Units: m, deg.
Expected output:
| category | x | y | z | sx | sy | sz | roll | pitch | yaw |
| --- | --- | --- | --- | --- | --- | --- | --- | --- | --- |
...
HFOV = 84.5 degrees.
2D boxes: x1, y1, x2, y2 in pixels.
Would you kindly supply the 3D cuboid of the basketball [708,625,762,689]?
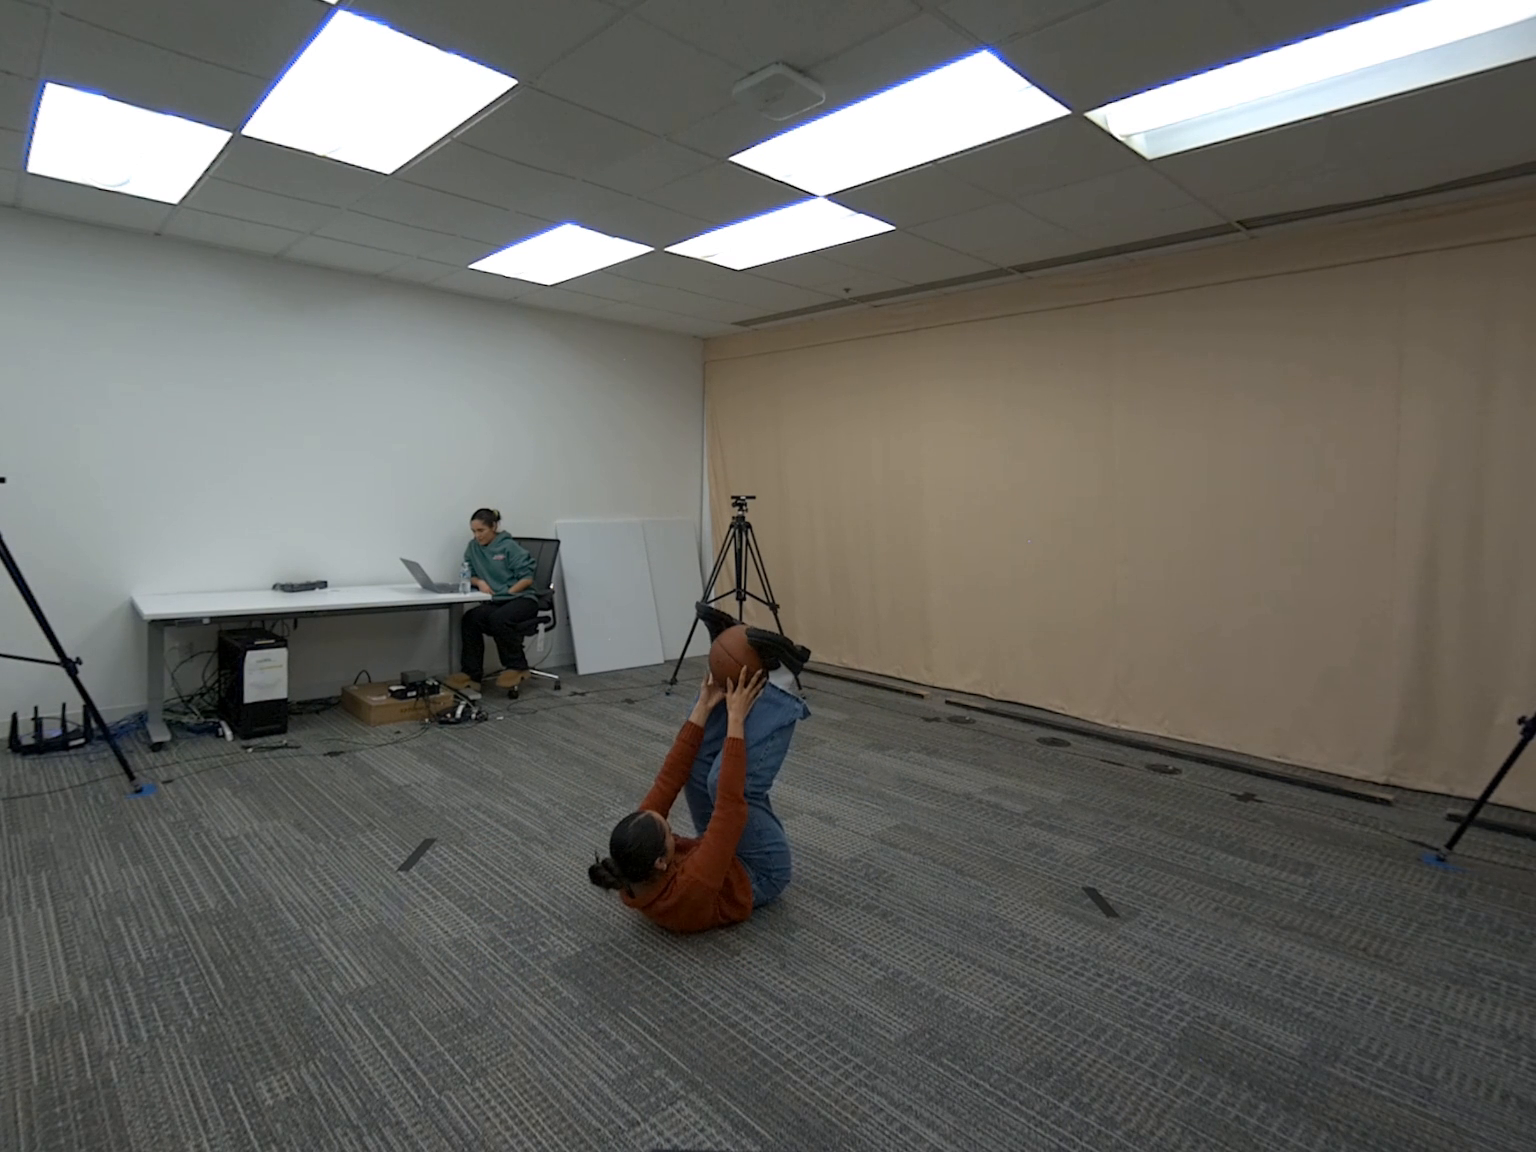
| category | x | y | z | sx | sy | sz | roll | pitch | yaw |
| --- | --- | --- | --- | --- | --- | --- | --- | --- | --- |
| basketball | -0.087 | 0.286 | 2.868 | 0.236 | 0.234 | 0.237 | 0 | 8 | -1 |
